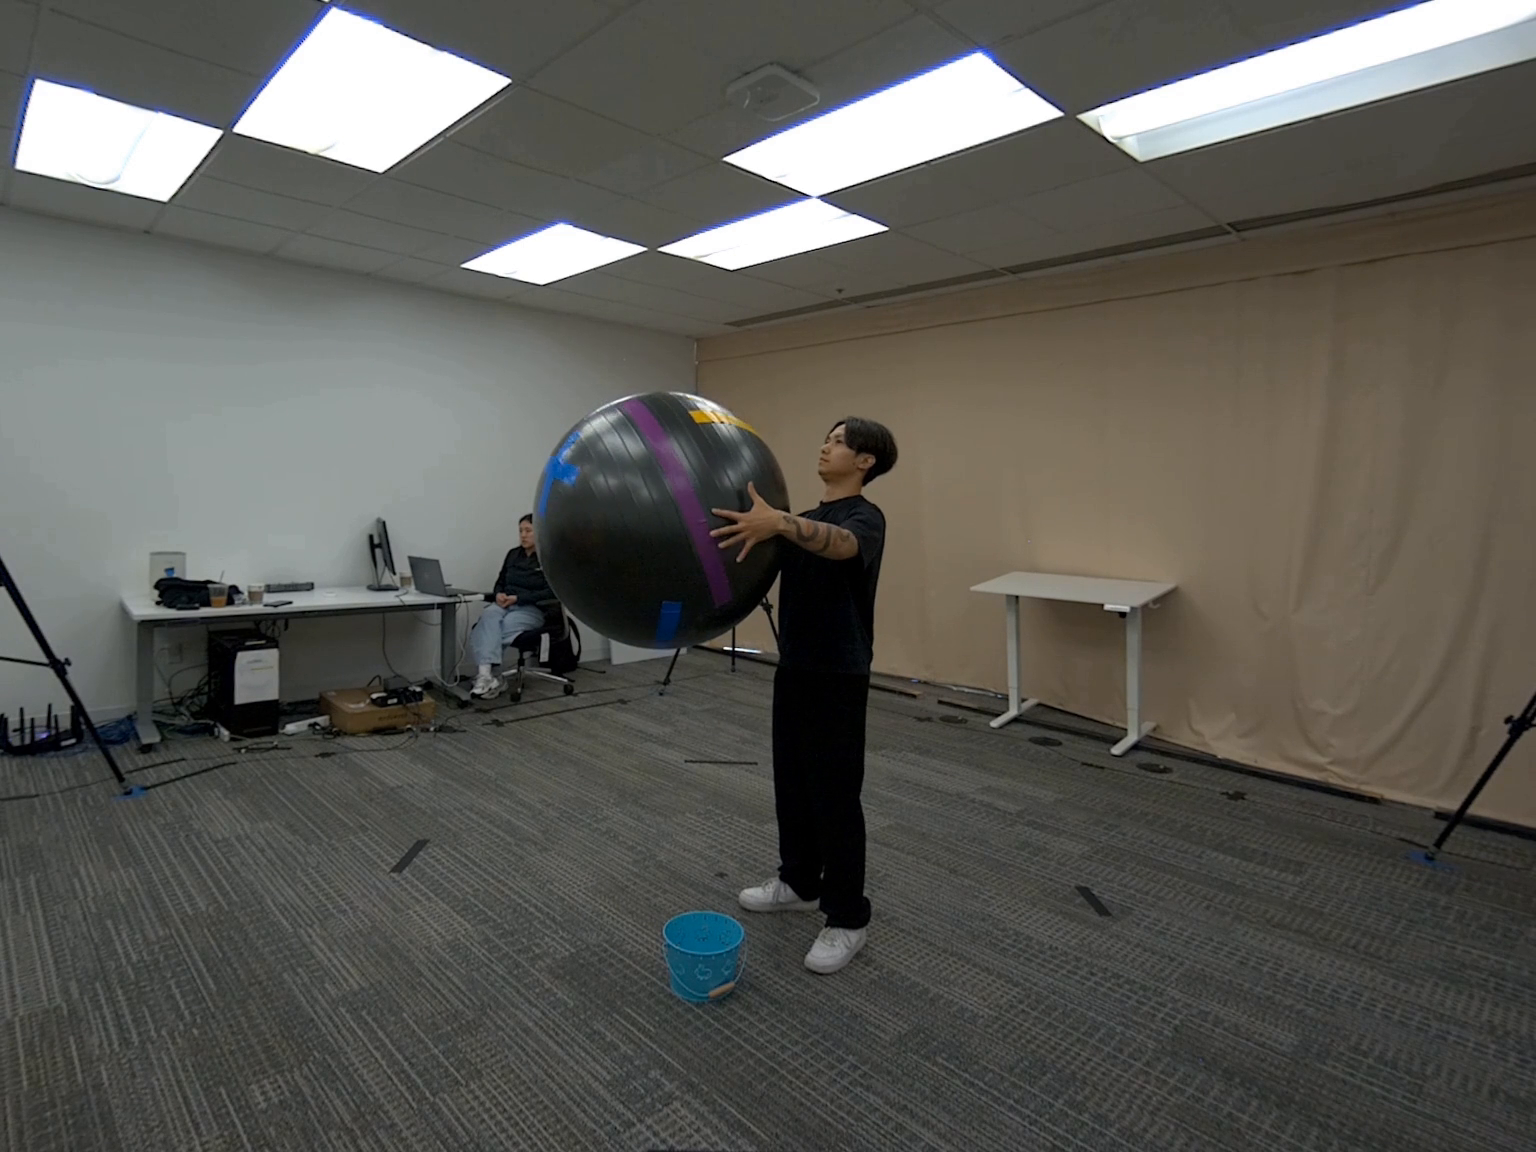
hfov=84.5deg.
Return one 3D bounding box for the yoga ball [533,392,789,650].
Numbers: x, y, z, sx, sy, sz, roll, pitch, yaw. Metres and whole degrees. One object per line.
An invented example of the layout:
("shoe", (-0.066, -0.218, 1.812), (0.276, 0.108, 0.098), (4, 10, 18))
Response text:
("yoga ball", (-0.312, -0.158, 2.502), (0.757, 0.756, 0.761), (1, 4, -1))
